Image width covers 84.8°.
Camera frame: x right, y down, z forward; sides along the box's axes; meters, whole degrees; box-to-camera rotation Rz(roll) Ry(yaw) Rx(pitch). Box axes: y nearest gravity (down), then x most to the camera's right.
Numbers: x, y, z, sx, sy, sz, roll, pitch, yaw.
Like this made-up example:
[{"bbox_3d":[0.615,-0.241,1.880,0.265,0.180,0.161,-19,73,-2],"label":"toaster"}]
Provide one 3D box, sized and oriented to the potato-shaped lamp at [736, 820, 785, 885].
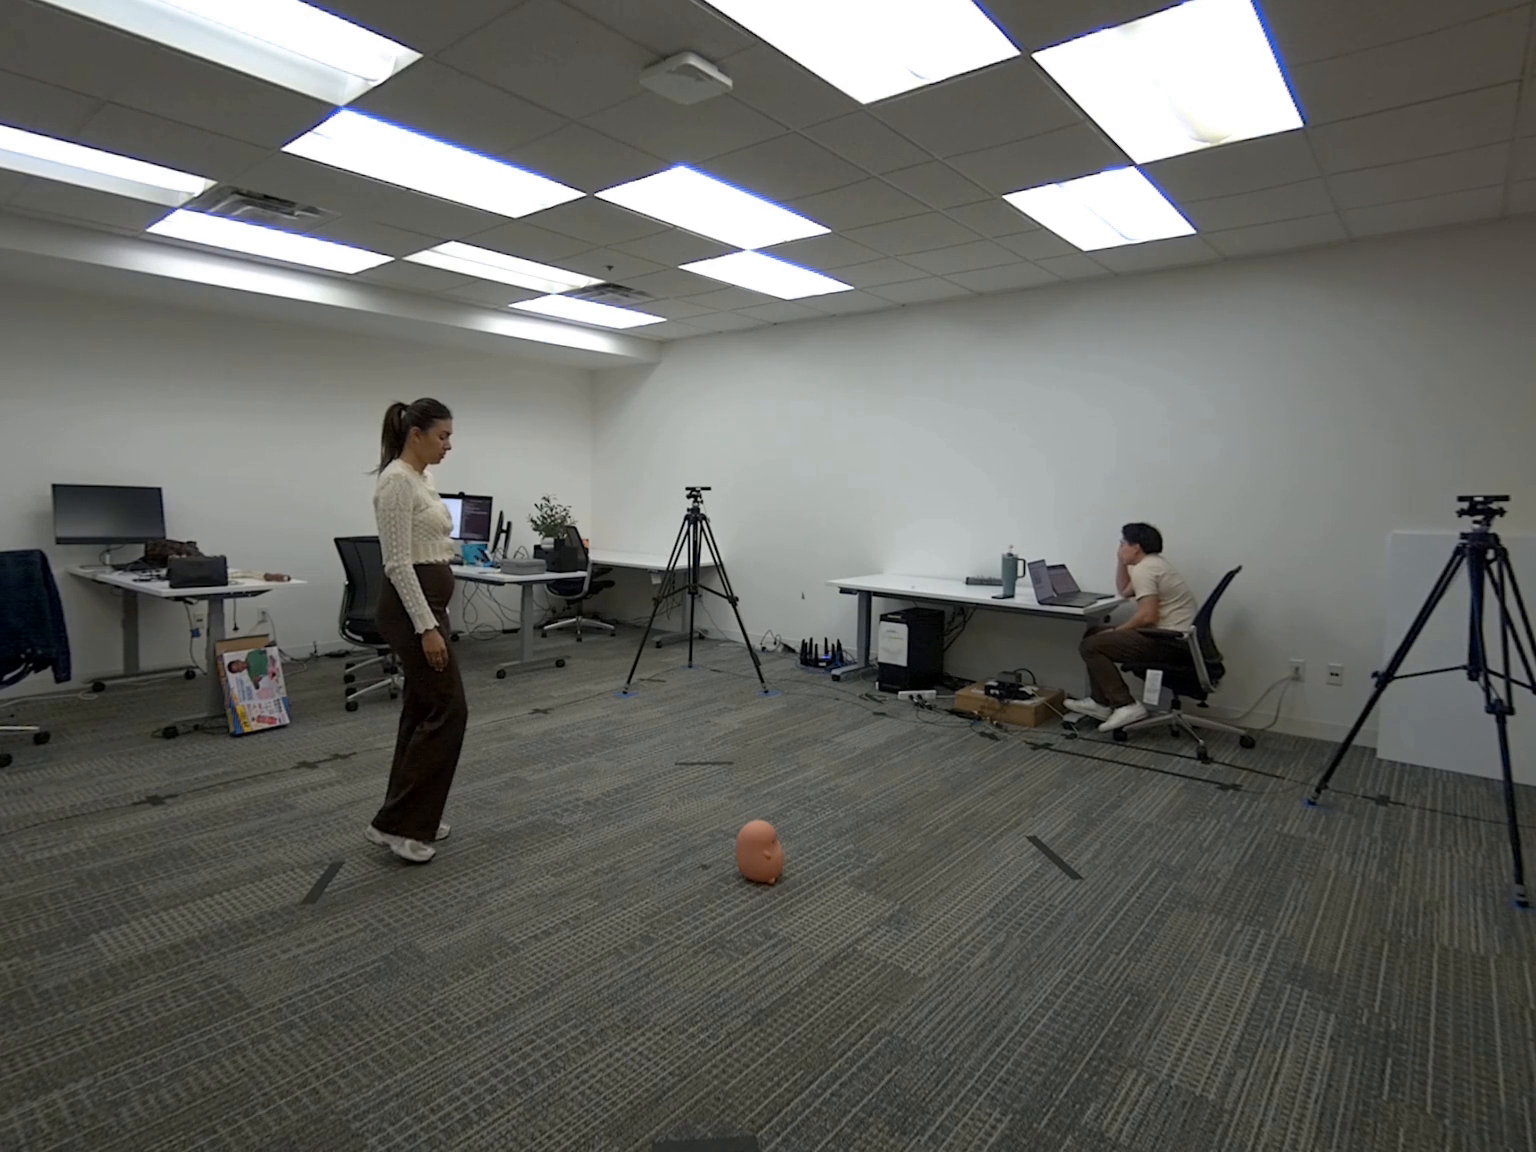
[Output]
[{"bbox_3d":[-0.035,0.975,3.050,0.175,0.197,0.161,0,5,23],"label":"potato-shaped lamp"}]
